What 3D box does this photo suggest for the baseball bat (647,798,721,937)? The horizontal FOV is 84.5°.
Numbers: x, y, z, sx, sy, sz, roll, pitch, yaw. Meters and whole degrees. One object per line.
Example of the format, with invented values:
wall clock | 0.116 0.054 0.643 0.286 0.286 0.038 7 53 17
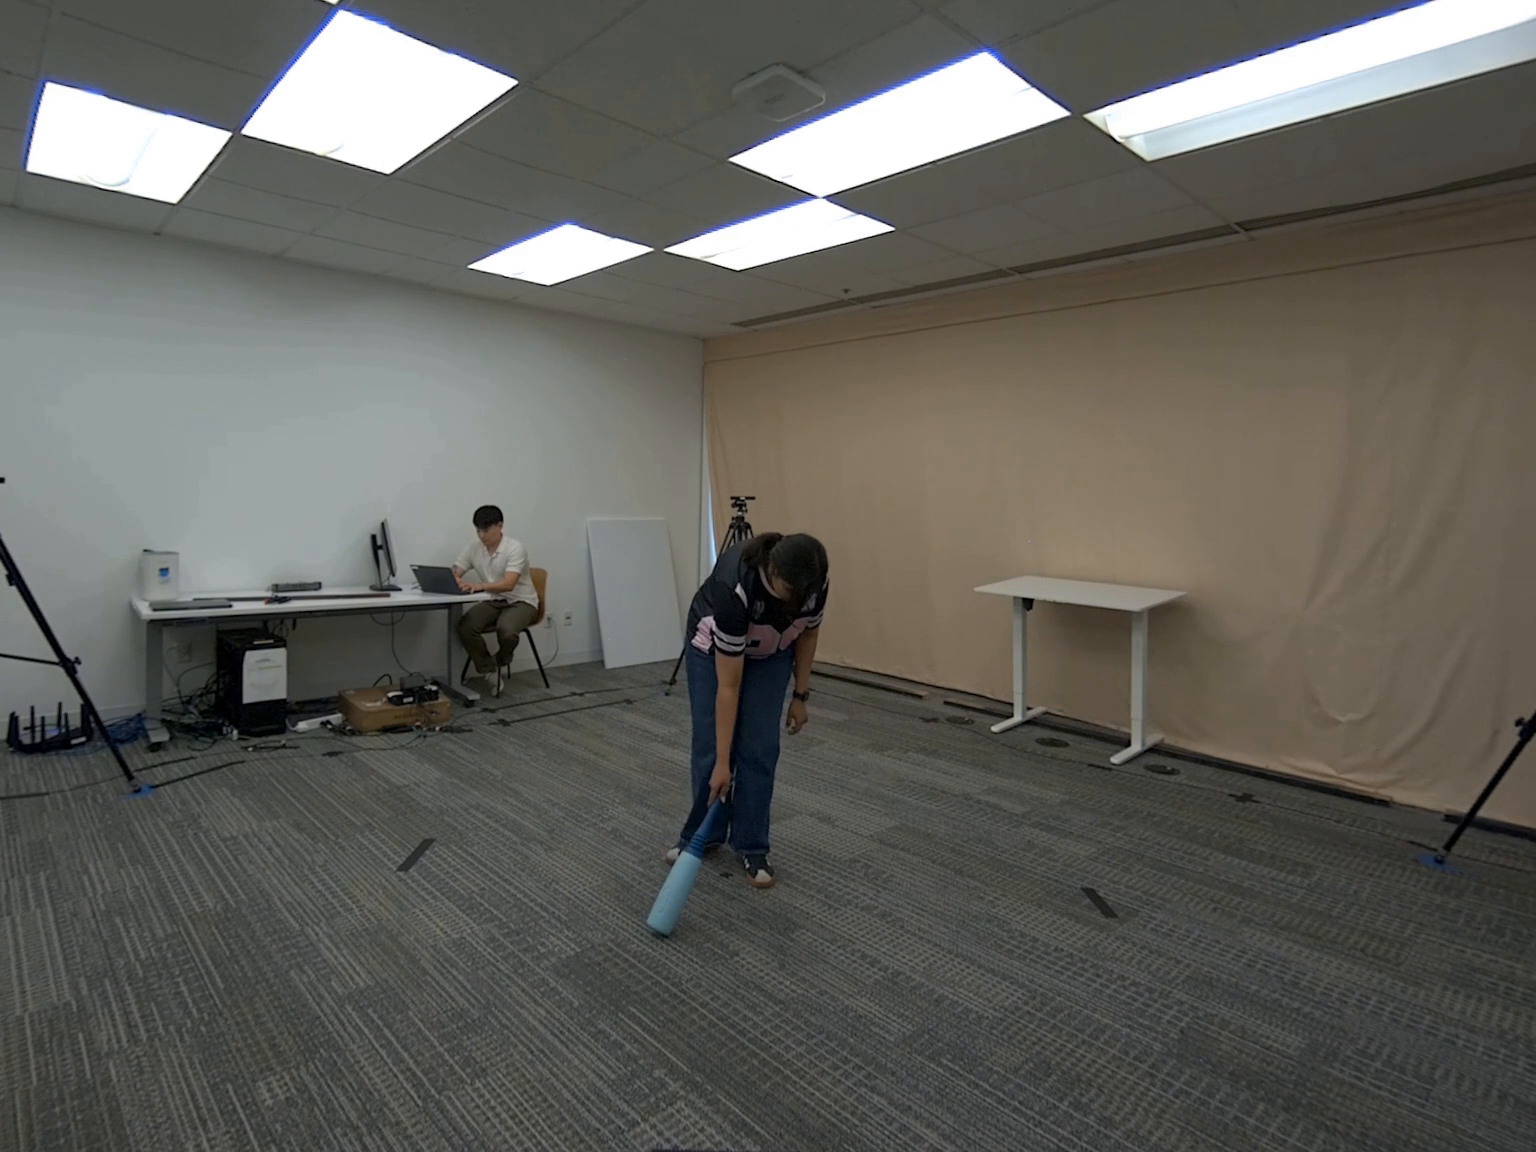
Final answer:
baseball bat | -0.250 0.905 2.755 0.090 0.546 0.087 22 -24 9
